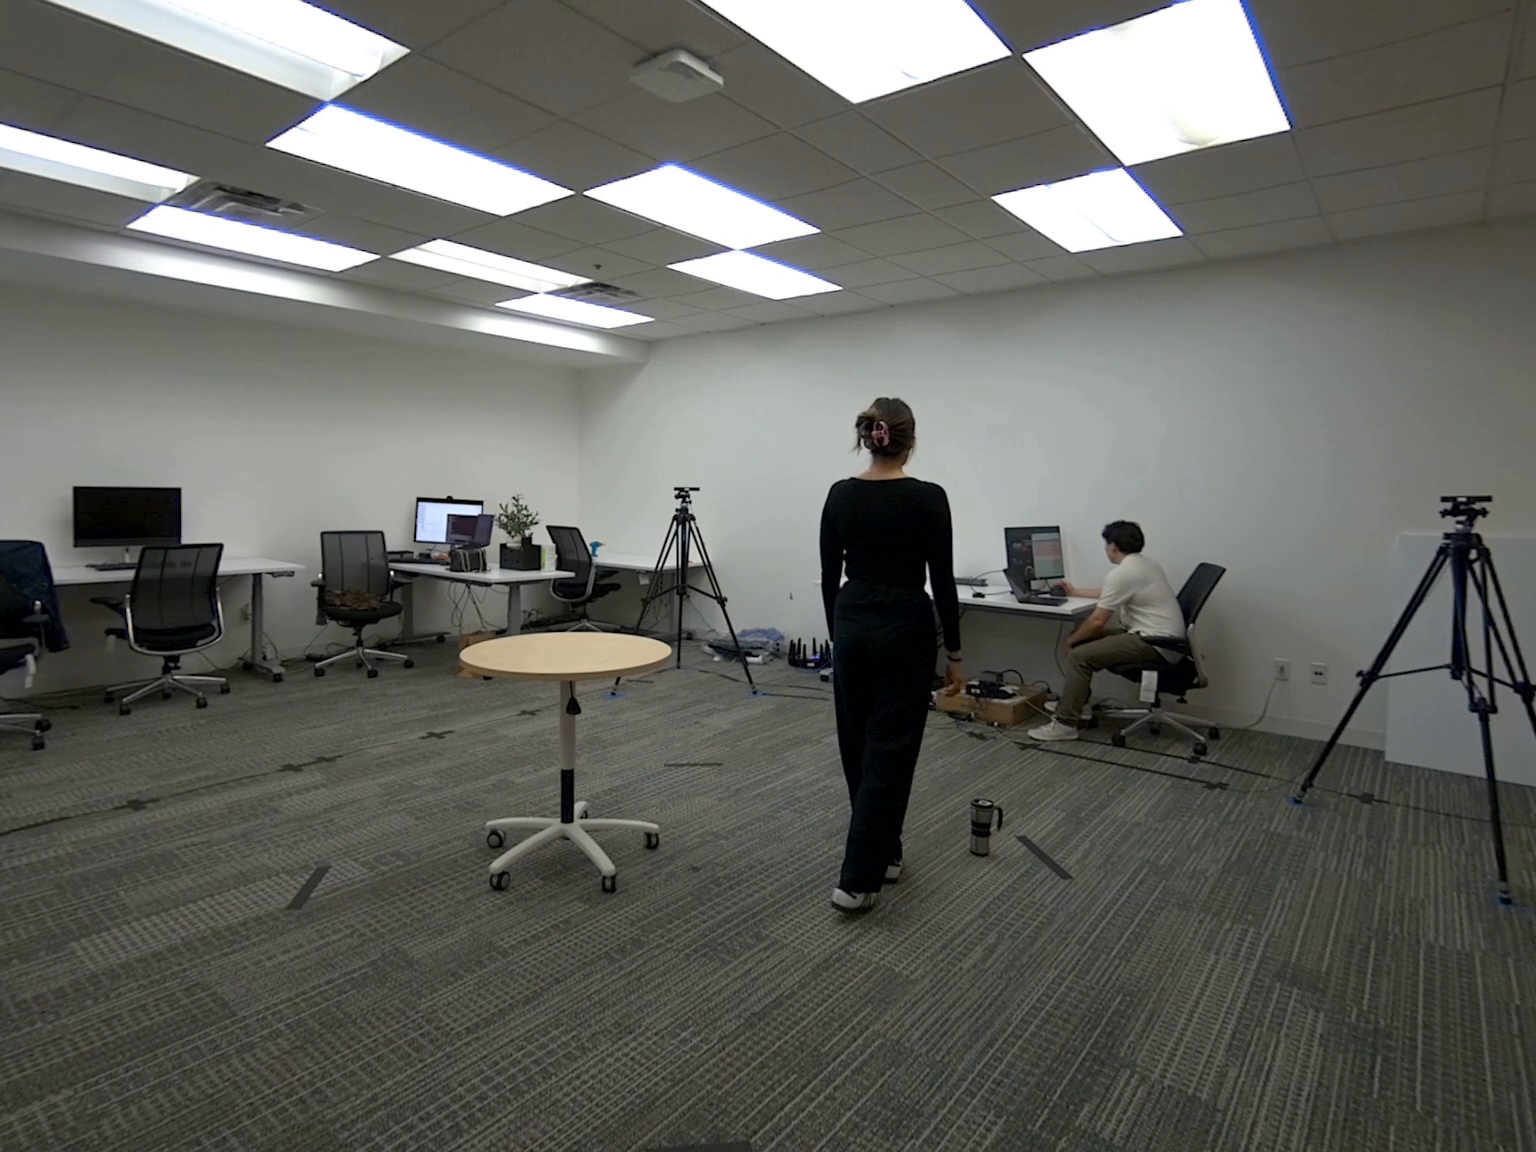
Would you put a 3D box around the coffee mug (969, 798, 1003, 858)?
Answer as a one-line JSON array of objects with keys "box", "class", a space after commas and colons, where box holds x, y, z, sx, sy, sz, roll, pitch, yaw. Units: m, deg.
[{"box": [0.846, 0.978, 3.286, 0.124, 0.203, 0.086, 0, -1, 20], "class": "coffee mug"}]
